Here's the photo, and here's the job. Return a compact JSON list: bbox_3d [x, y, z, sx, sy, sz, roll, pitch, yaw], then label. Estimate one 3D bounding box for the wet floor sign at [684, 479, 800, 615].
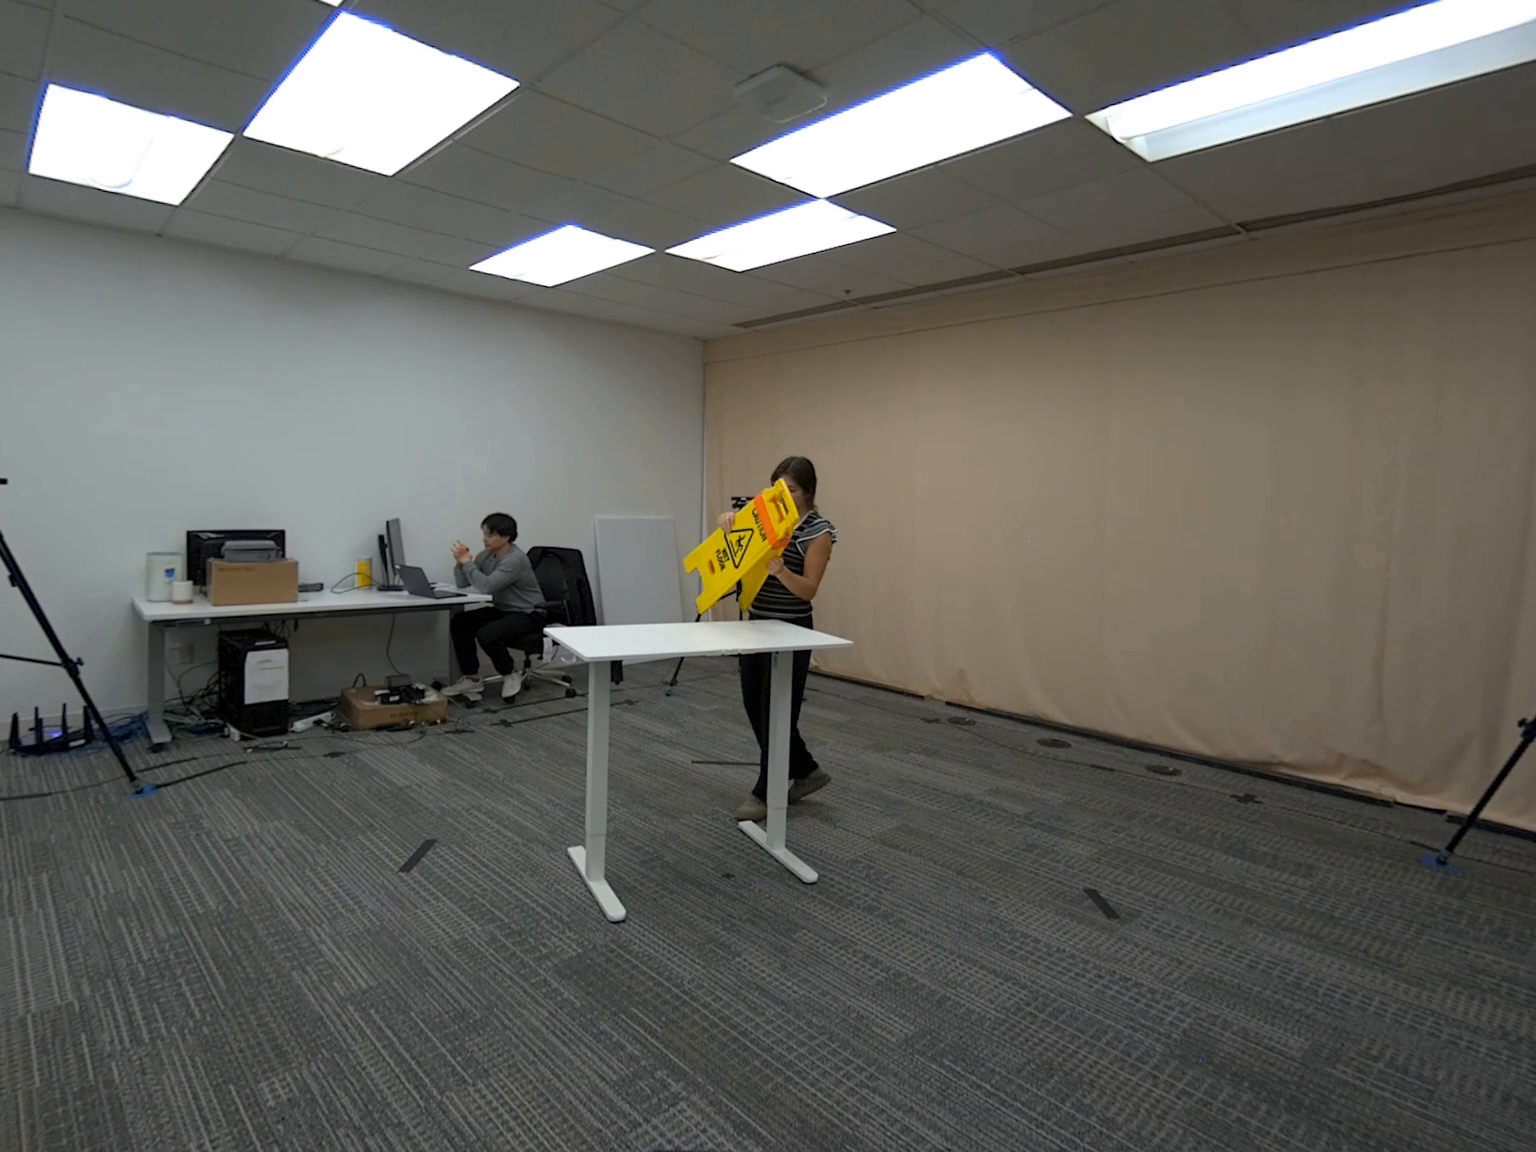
[{"bbox_3d":[-0.069,-0.126,3.457,0.283,0.289,0.645,2,-35,-35],"label":"wet floor sign"}]
